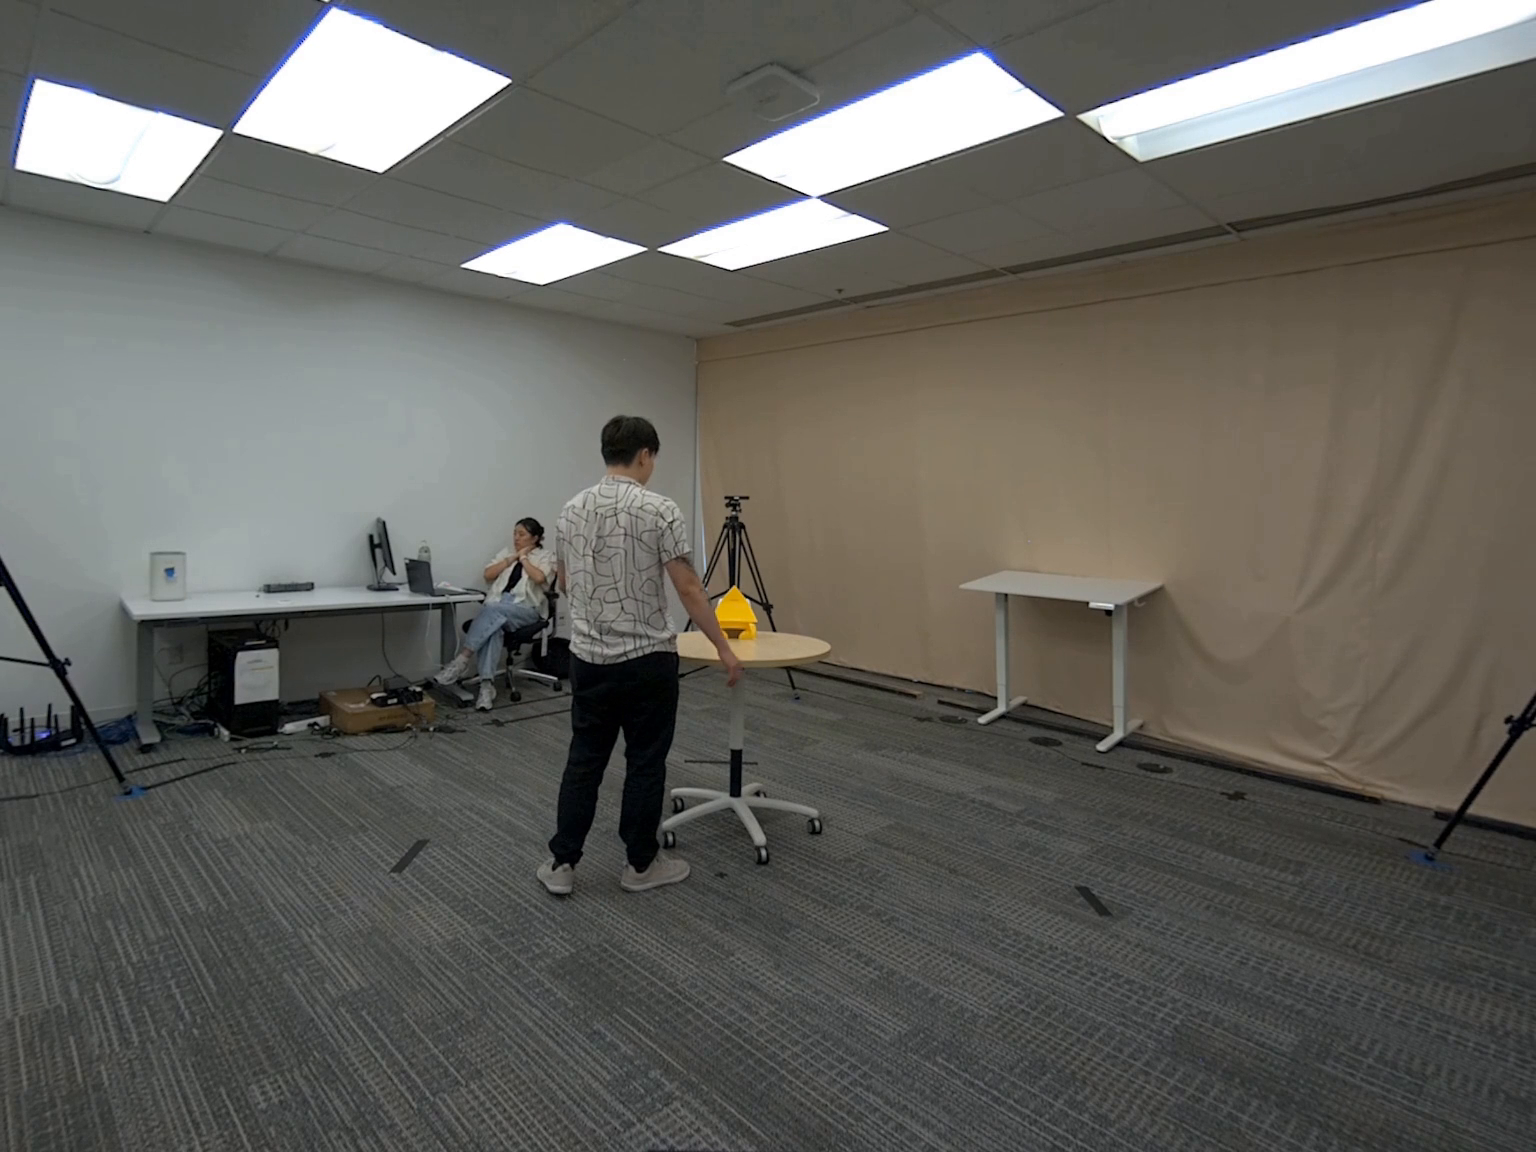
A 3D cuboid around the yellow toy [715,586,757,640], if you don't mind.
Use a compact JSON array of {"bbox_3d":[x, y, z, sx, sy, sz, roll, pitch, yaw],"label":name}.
[{"bbox_3d":[-0.160,0.150,3.717,0.204,0.230,0.194,1,5,-2],"label":"yellow toy"}]
